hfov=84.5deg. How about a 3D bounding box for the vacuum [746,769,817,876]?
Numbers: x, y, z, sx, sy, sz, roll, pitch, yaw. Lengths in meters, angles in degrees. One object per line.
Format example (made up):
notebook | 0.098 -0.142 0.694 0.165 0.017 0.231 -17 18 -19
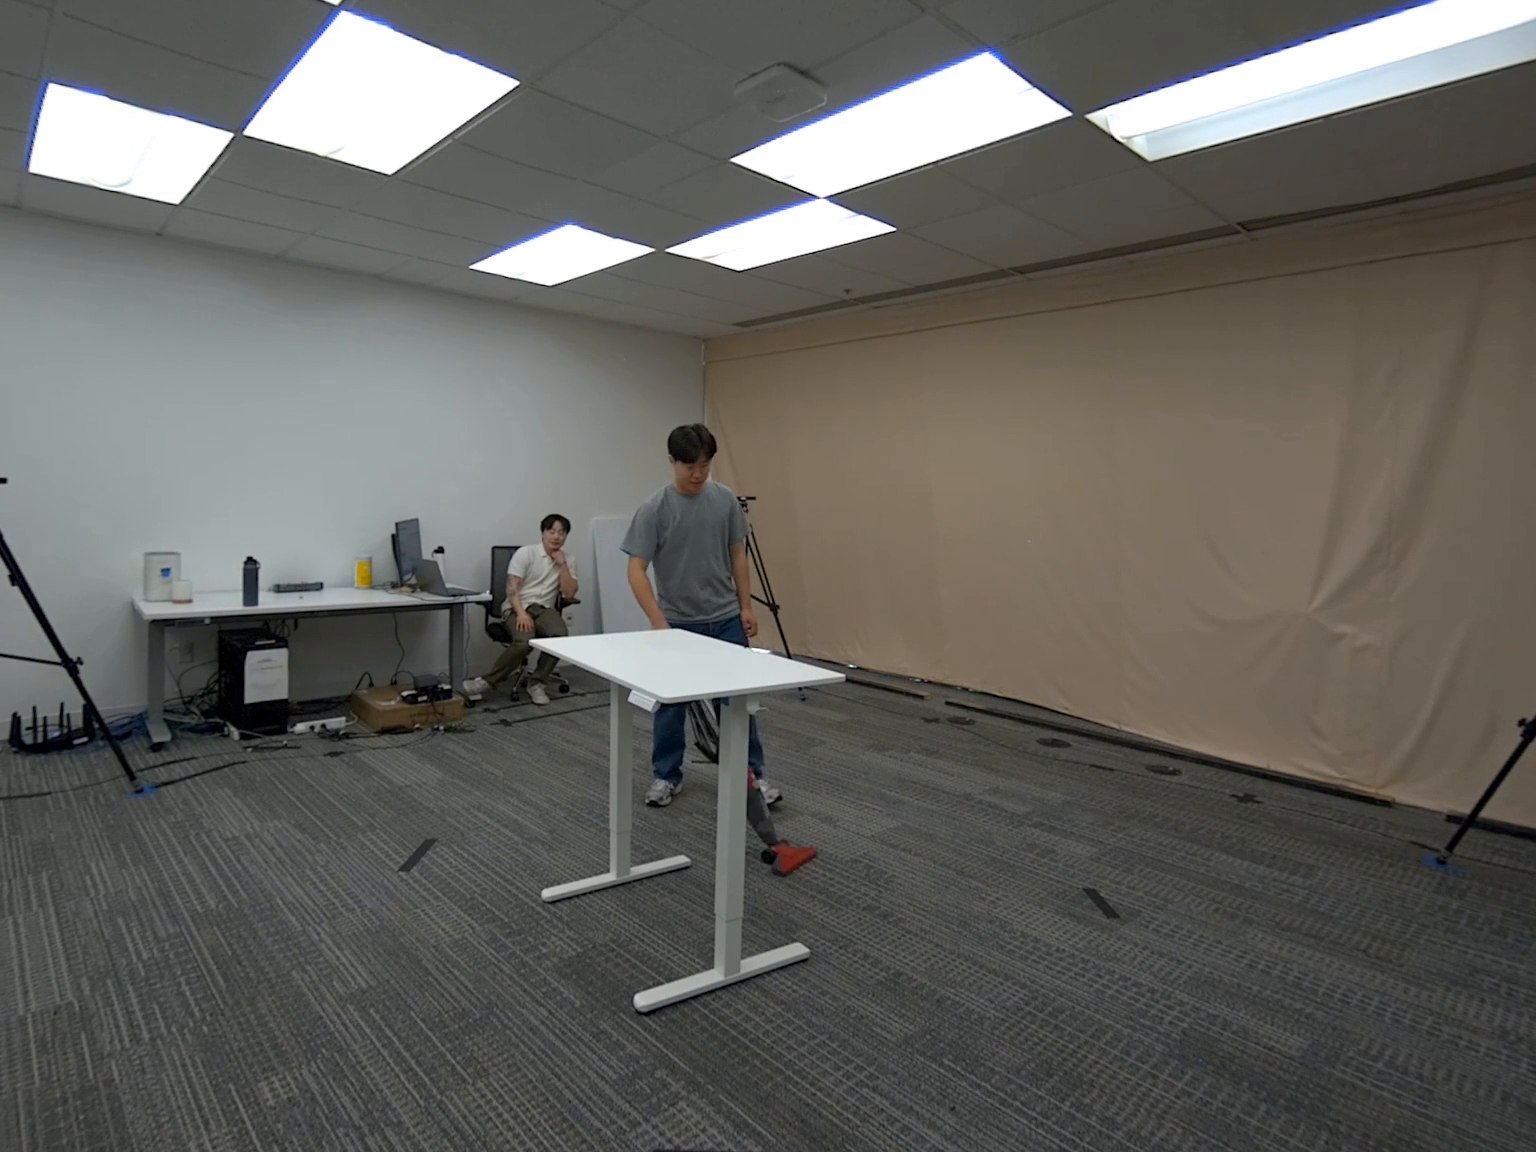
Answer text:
vacuum | -0.196 0.684 3.424 0.144 1.074 0.246 -44 -26 25
